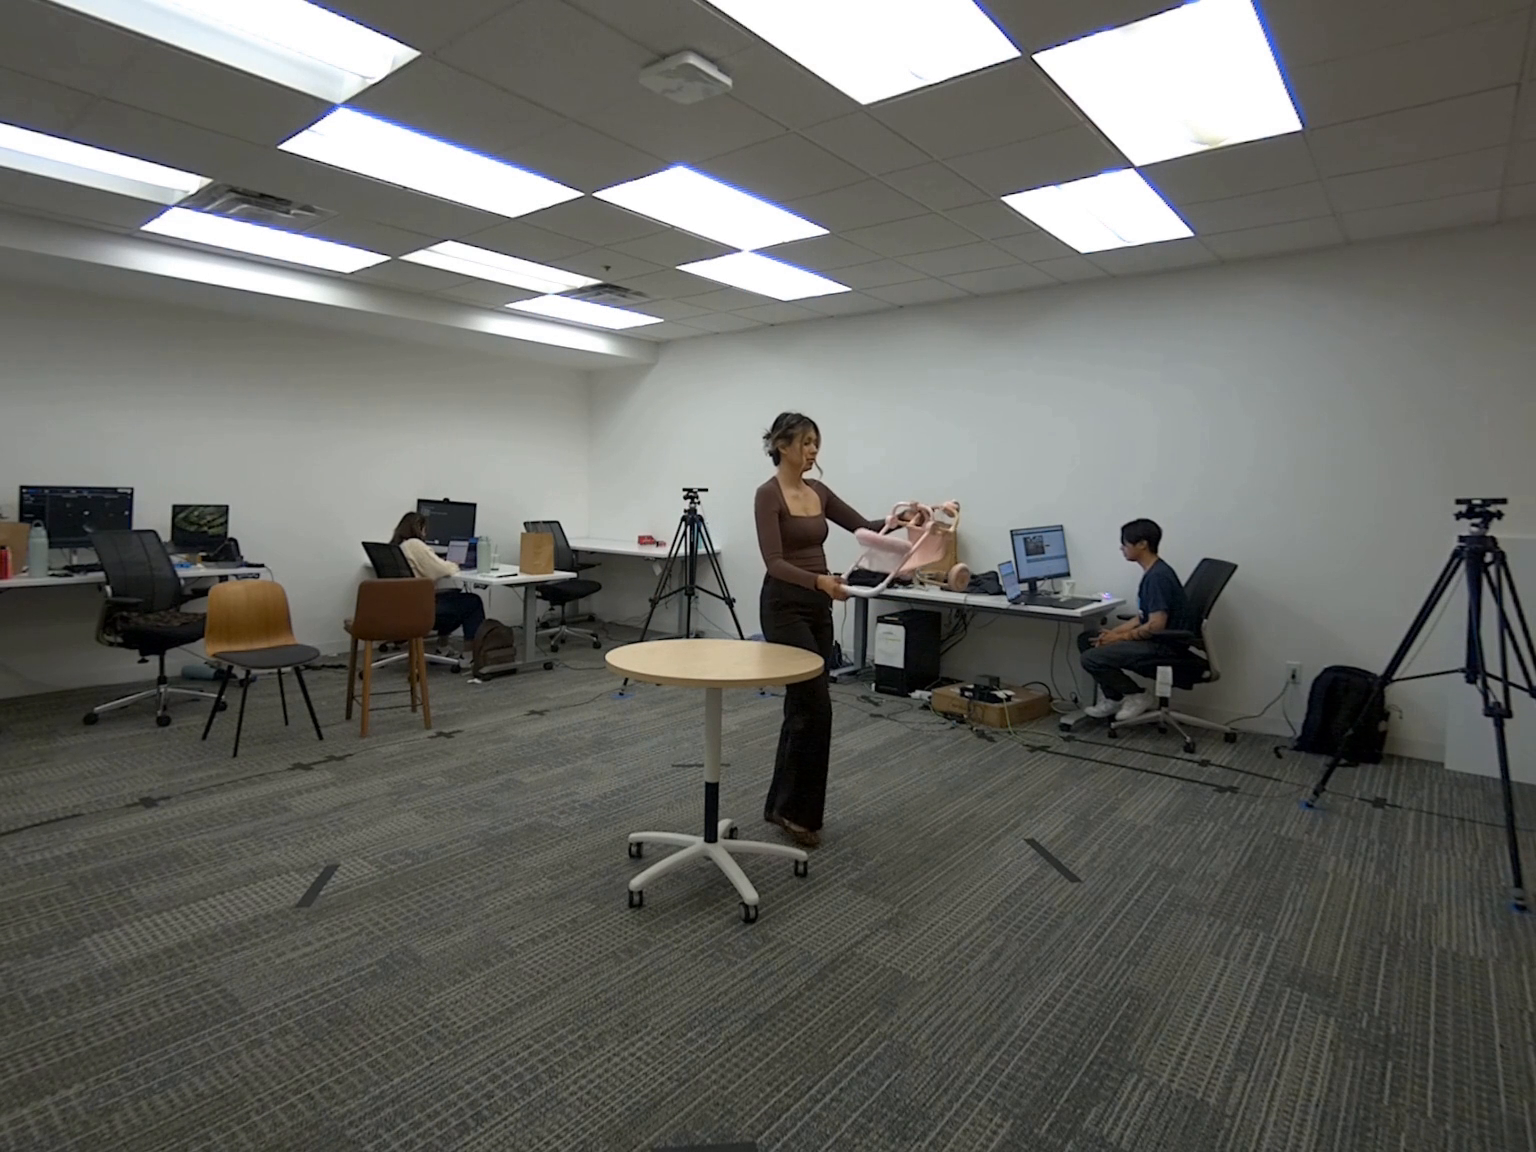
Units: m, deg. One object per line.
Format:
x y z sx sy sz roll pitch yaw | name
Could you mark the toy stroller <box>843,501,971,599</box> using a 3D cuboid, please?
0.512 -0.111 3.115 0.520 0.338 0.292 -4 16 -37 | toy stroller
